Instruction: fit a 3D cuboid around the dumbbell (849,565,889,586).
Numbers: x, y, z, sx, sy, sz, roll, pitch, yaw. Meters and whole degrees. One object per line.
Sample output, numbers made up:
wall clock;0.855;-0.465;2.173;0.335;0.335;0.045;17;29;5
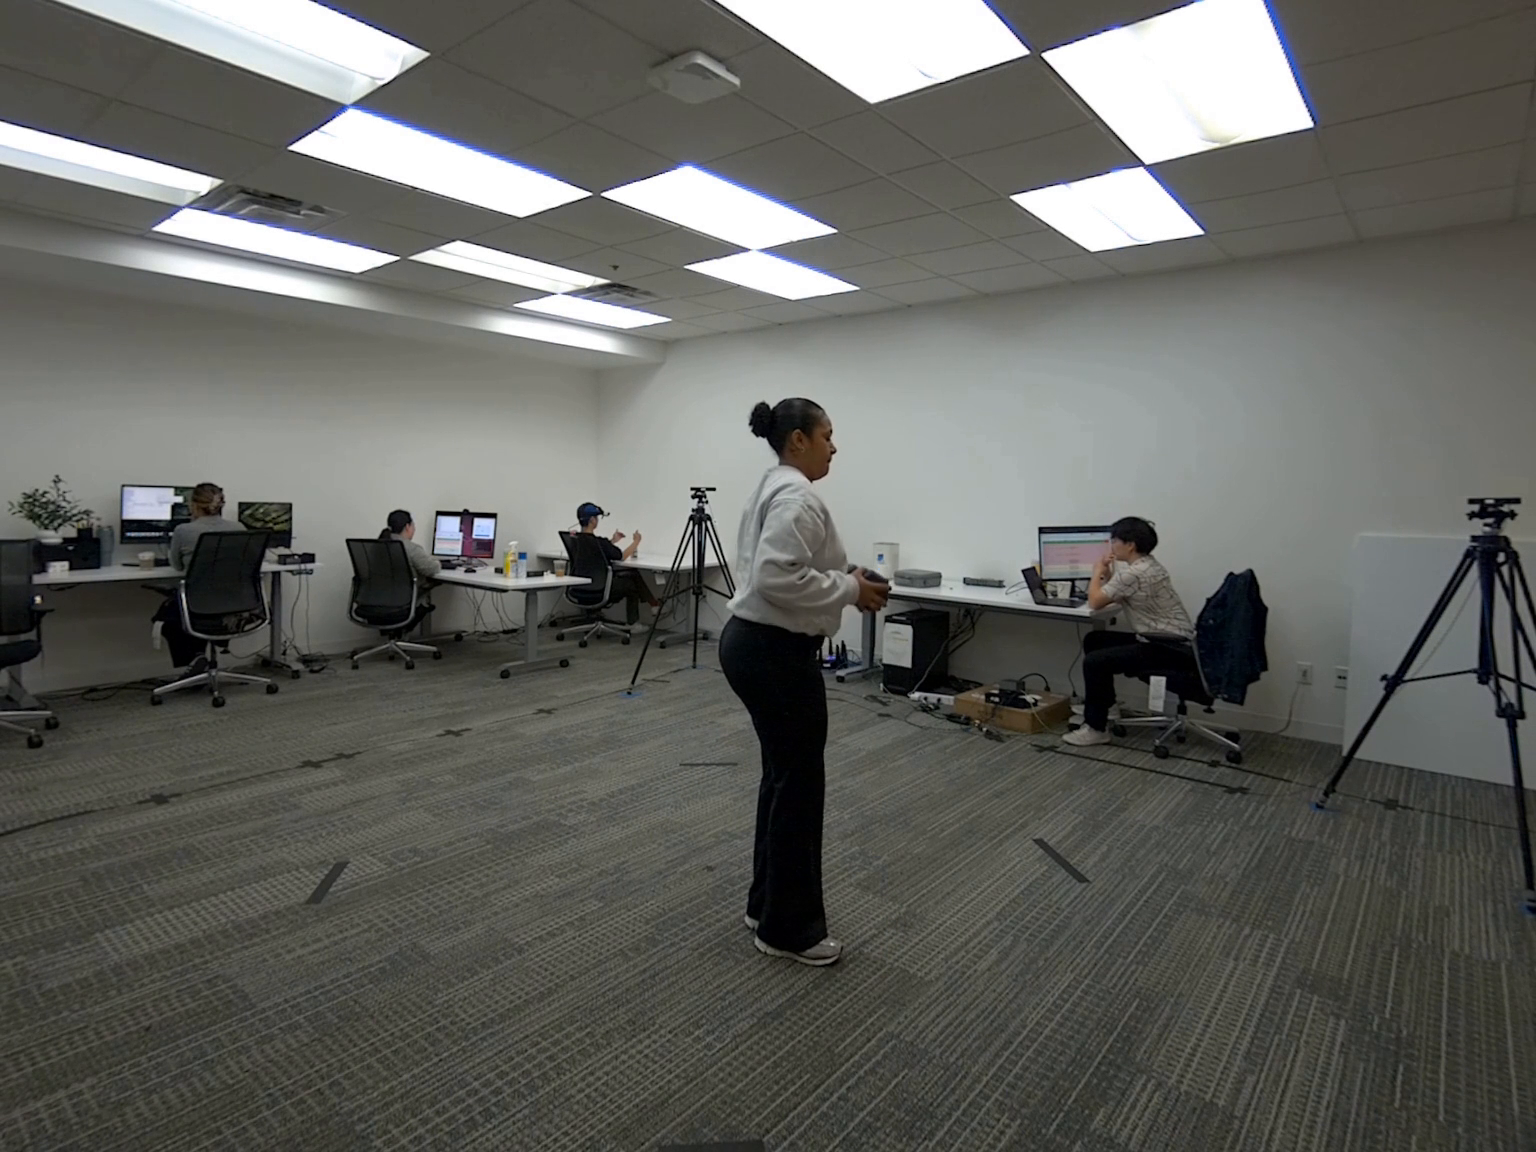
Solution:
dumbbell;0.260;0.022;2.592;0.123;0.108;0.297;-29;9;-3
